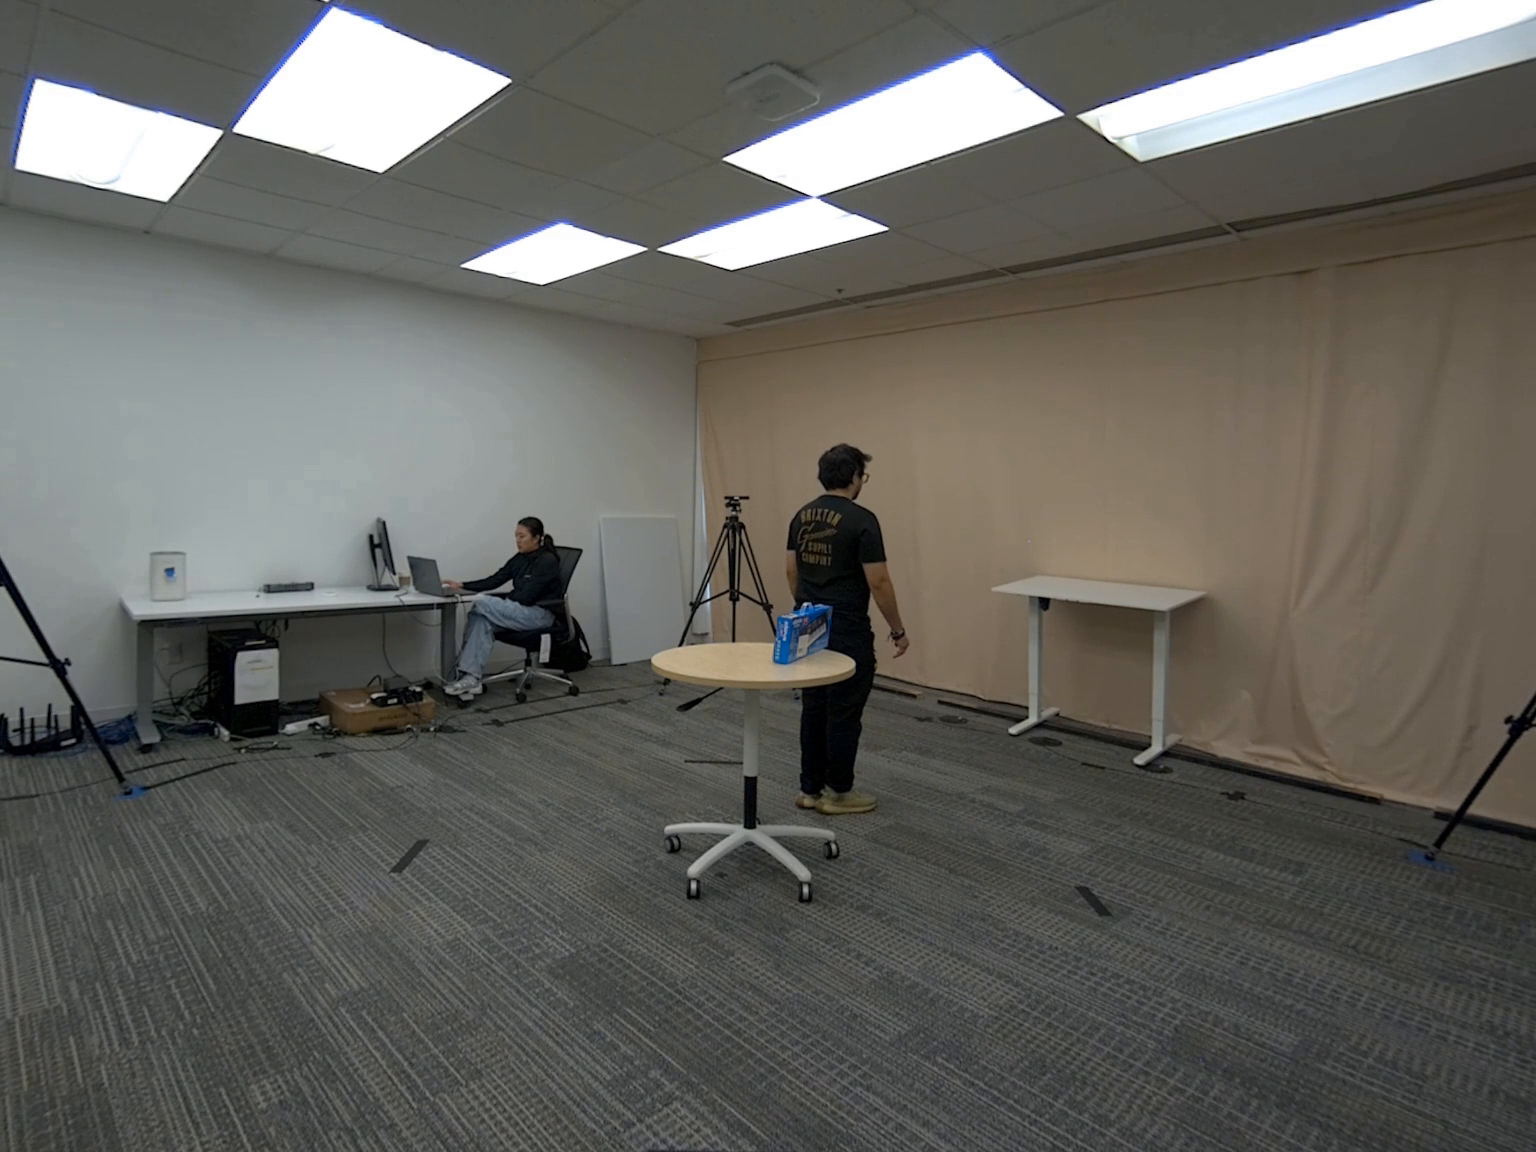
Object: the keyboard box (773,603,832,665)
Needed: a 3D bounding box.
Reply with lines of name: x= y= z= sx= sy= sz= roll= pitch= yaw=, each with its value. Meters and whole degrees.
keyboard box: x=0.135 y=0.225 z=3.279 sx=0.060 sy=0.175 sz=0.430 roll=10 pitch=8 yaw=24
